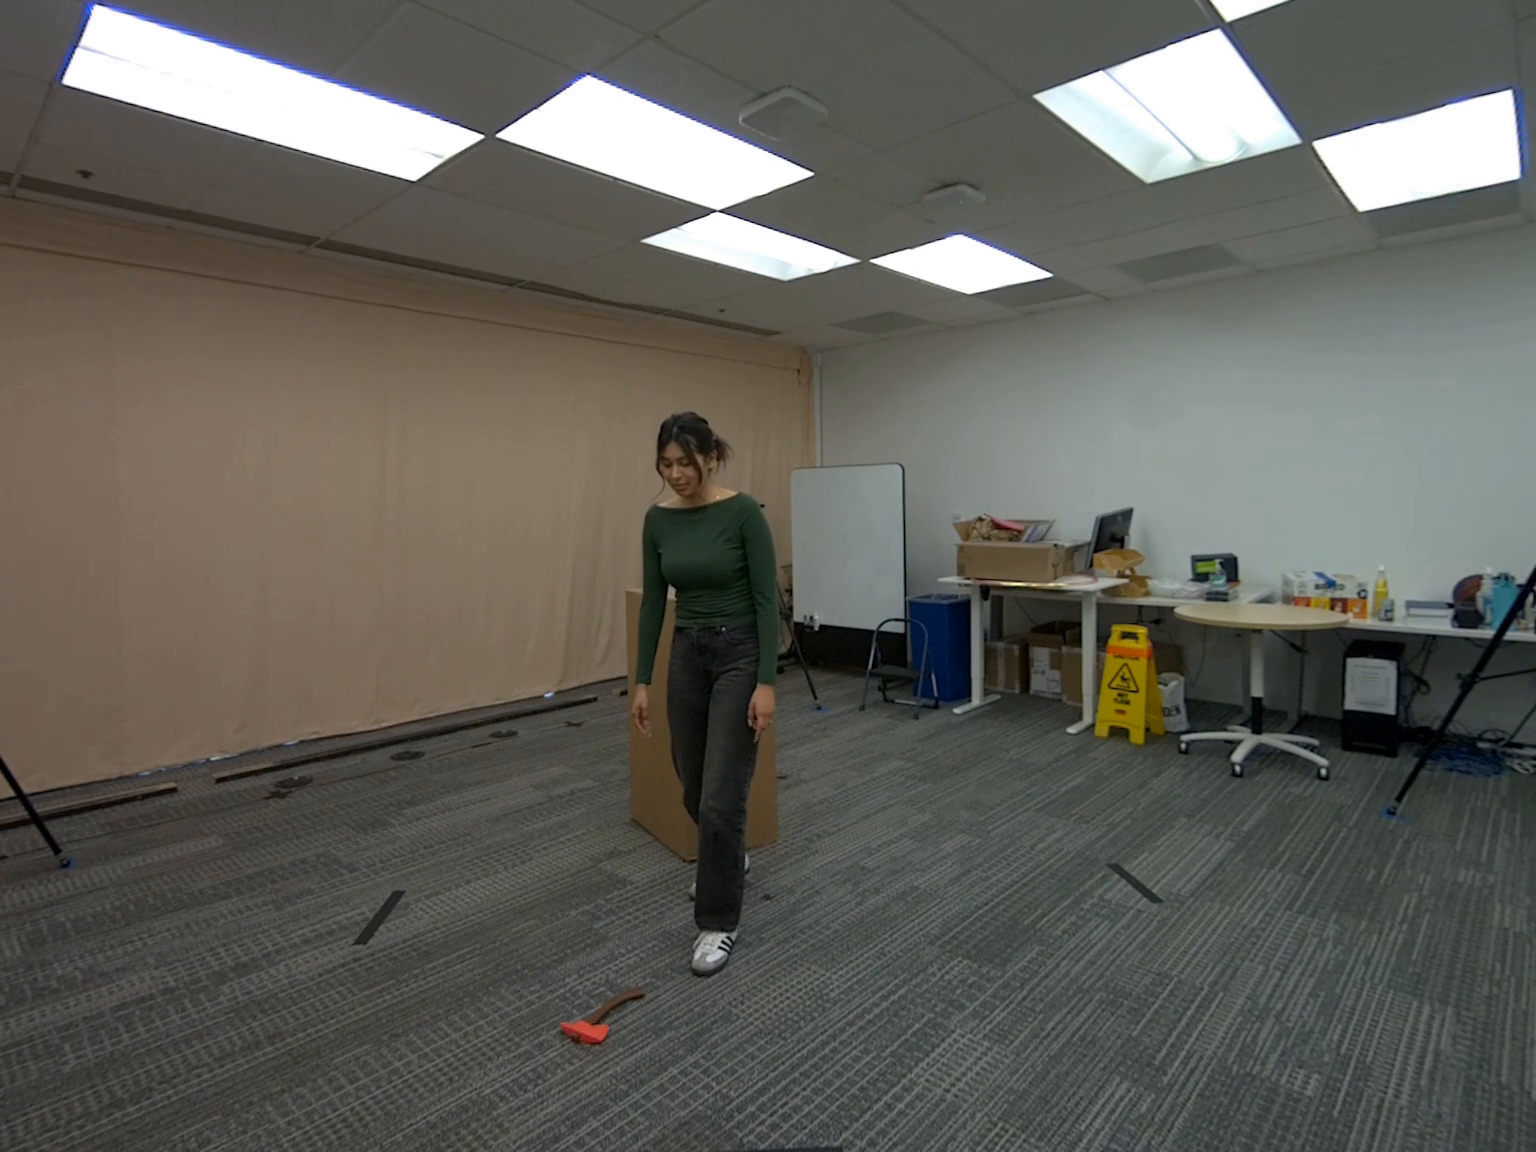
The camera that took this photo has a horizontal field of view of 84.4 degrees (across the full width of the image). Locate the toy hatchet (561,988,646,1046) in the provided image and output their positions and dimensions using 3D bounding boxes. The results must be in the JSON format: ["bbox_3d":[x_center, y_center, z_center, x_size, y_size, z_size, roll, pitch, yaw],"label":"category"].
[{"bbox_3d":[-0.419,1.189,2.288,0.135,0.029,0.262,3,5,44],"label":"toy hatchet"}]
